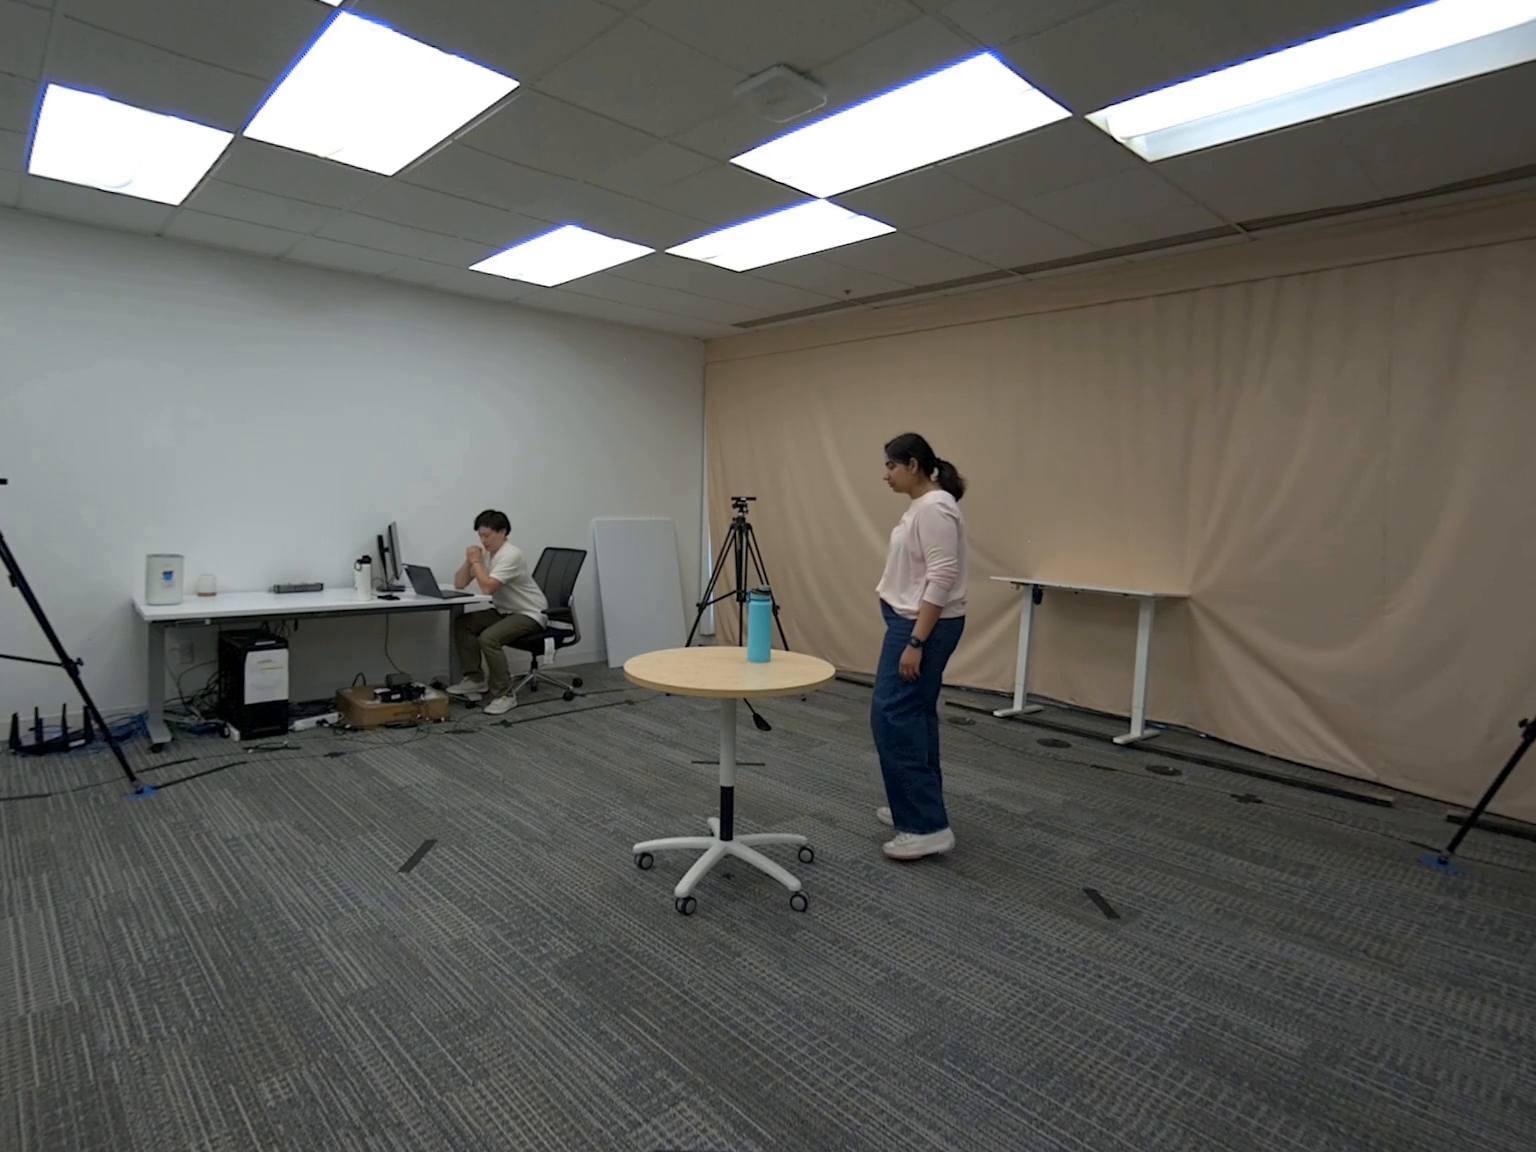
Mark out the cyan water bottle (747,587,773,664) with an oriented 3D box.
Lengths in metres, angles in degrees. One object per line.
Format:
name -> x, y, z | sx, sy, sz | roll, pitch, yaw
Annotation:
cyan water bottle -> -0.040, 0.179, 3.159 | 0.092, 0.283, 0.092 | 1, 3, -1
